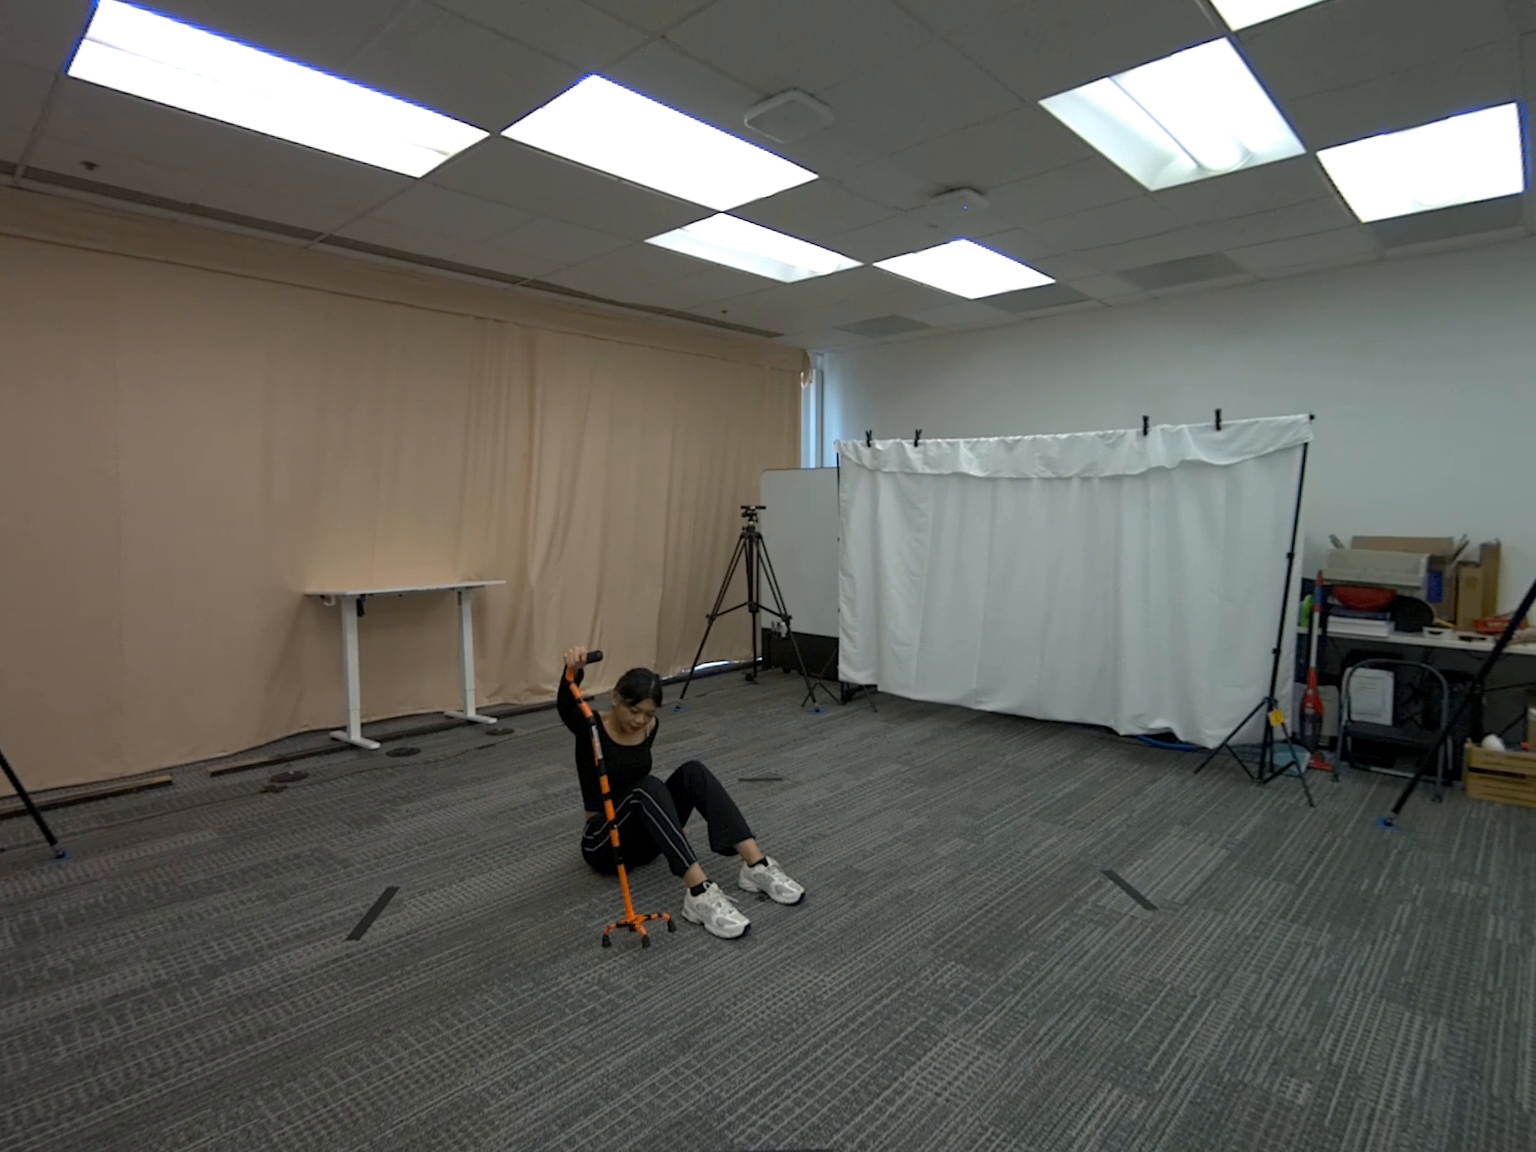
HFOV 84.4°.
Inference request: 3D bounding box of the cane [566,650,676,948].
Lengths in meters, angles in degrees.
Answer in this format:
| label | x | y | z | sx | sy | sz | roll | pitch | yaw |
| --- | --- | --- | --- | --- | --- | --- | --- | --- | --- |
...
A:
| label | x | y | z | sx | sy | sz | roll | pitch | yaw |
| --- | --- | --- | --- | --- | --- | --- | --- | --- | --- |
| cane | -0.504 | 0.699 | 2.720 | 0.211 | 0.913 | 0.147 | -16 | -8 | 34 |
